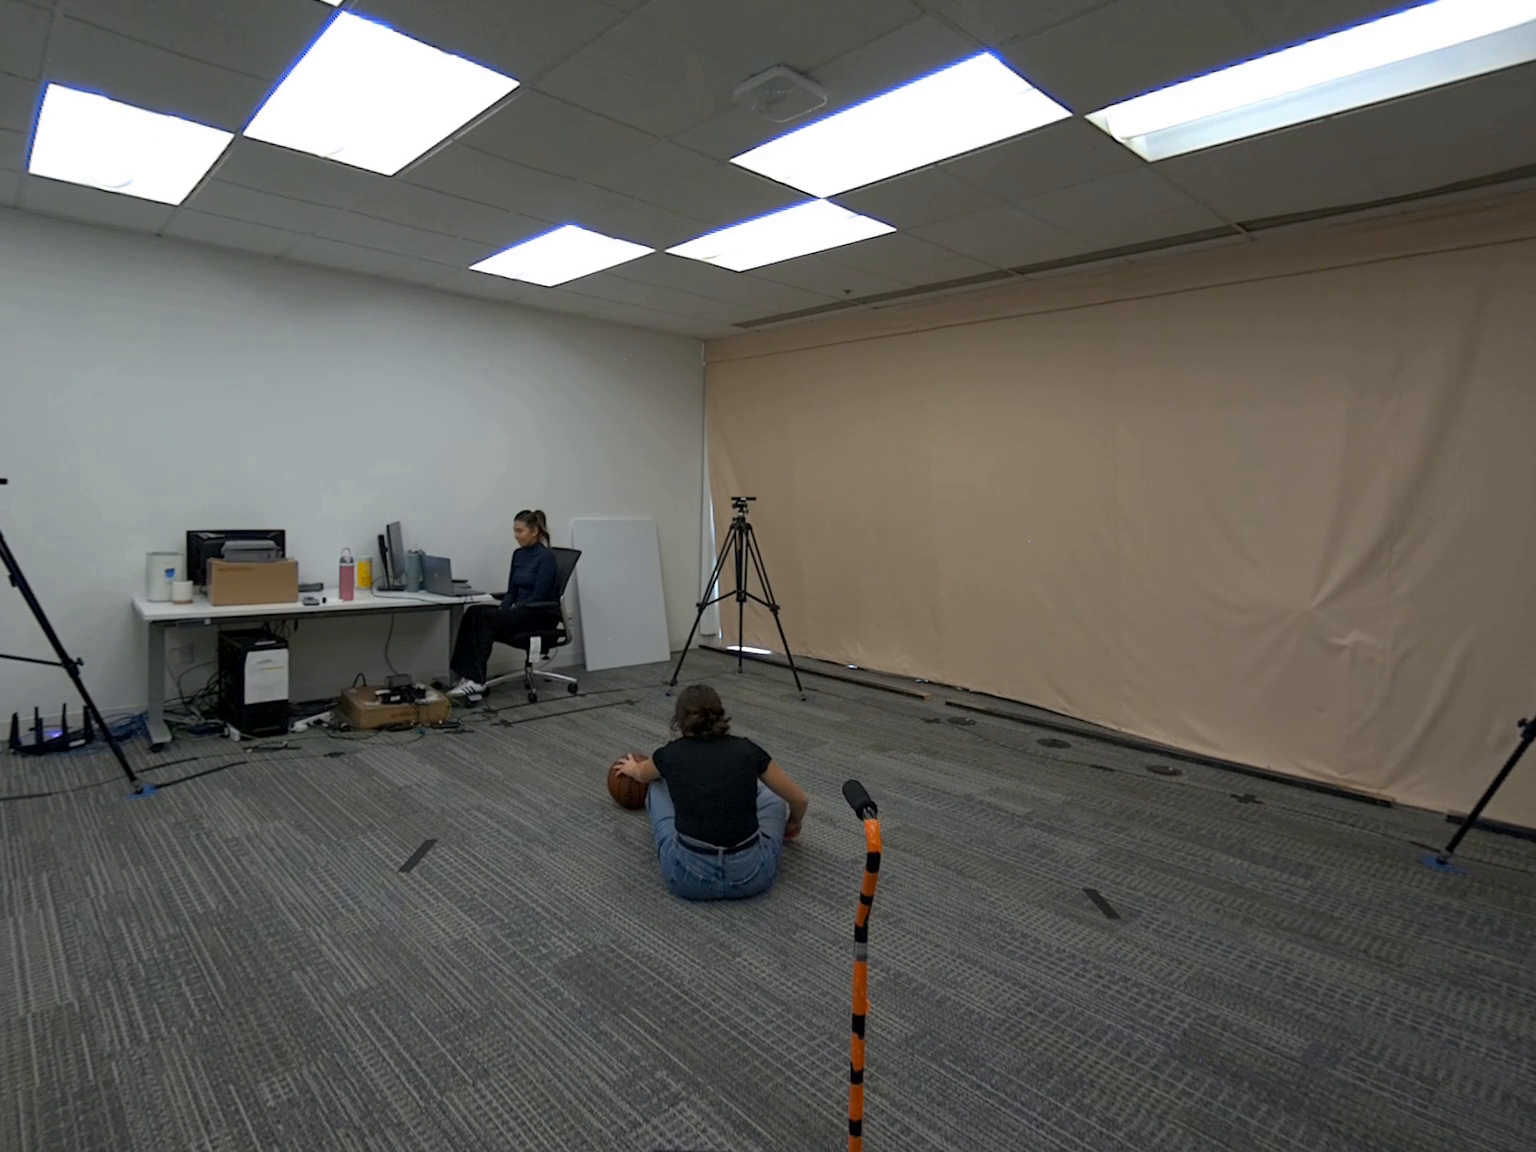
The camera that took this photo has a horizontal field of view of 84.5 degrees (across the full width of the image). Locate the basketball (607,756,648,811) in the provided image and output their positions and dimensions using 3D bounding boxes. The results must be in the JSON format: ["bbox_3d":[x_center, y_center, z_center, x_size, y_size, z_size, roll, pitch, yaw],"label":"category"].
[{"bbox_3d":[-0.617,0.914,3.783,0.236,0.235,0.237,1,4,-1],"label":"basketball"}]
